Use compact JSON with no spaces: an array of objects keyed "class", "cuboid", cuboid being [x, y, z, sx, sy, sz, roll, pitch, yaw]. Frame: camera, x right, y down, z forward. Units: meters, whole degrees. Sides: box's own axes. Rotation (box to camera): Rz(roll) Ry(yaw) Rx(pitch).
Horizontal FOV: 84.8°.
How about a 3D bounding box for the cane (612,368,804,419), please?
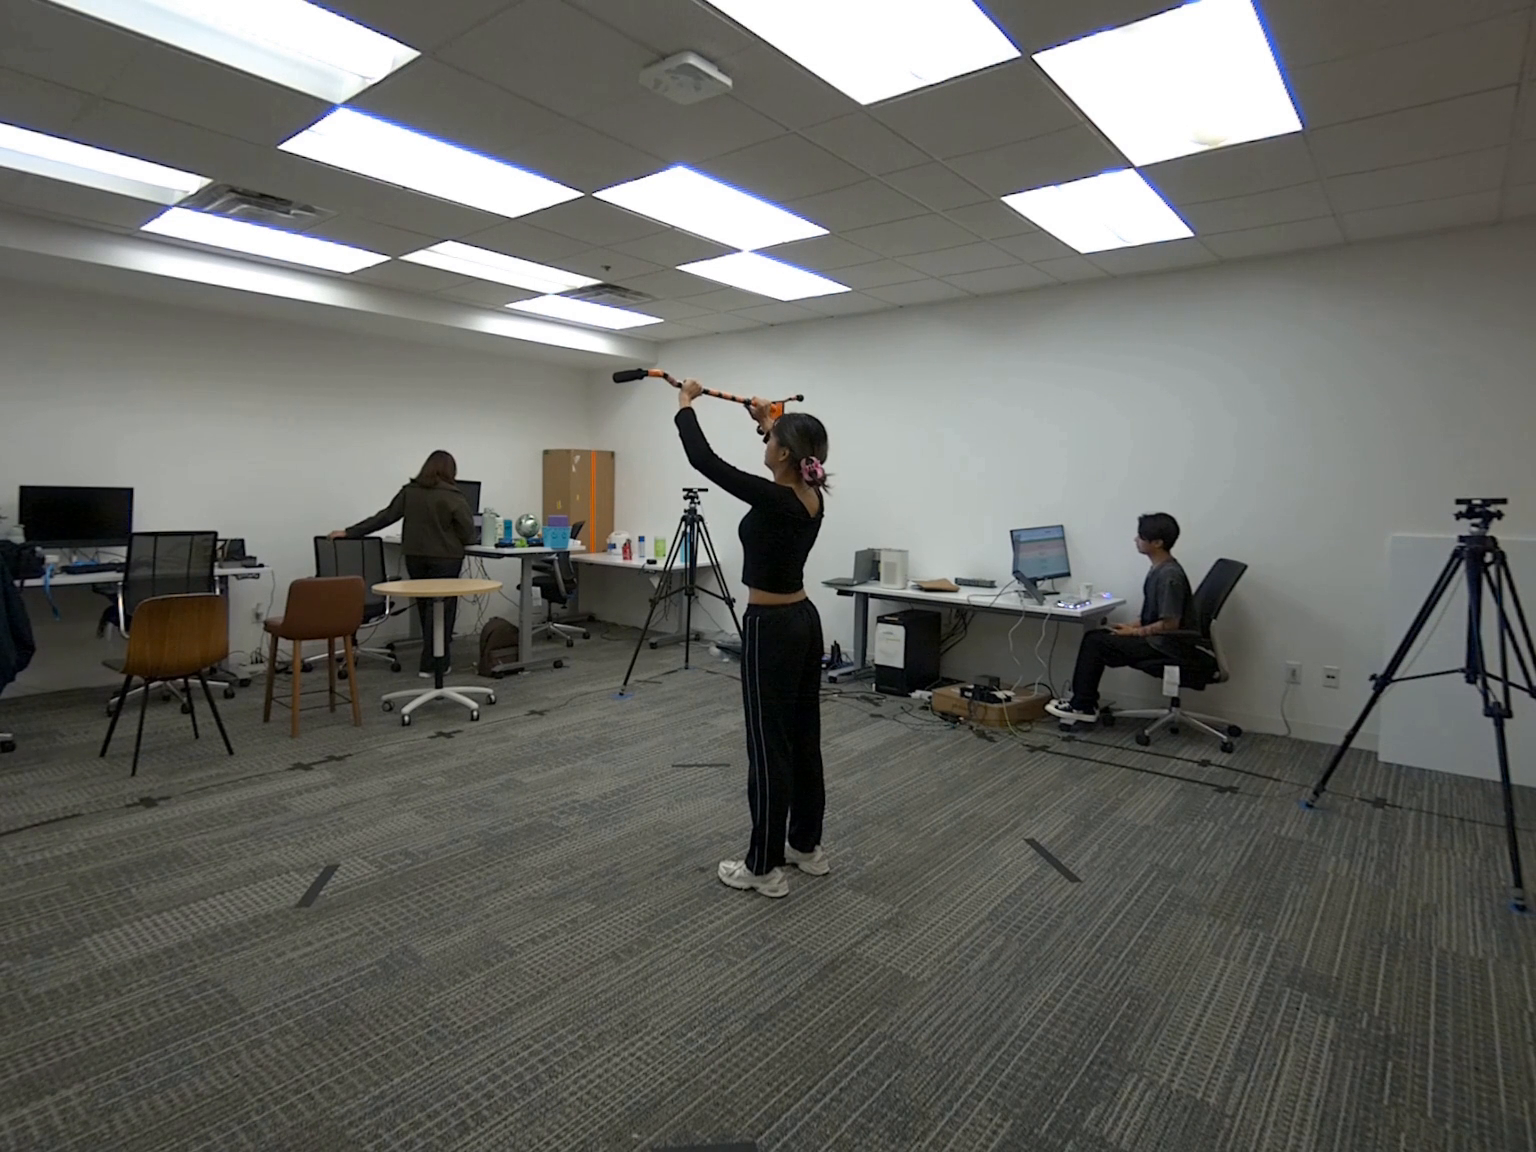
[{"class":"cane","cuboid":[-0.192,-0.641,3.054,0.213,0.151,0.881,1,1,33]}]
